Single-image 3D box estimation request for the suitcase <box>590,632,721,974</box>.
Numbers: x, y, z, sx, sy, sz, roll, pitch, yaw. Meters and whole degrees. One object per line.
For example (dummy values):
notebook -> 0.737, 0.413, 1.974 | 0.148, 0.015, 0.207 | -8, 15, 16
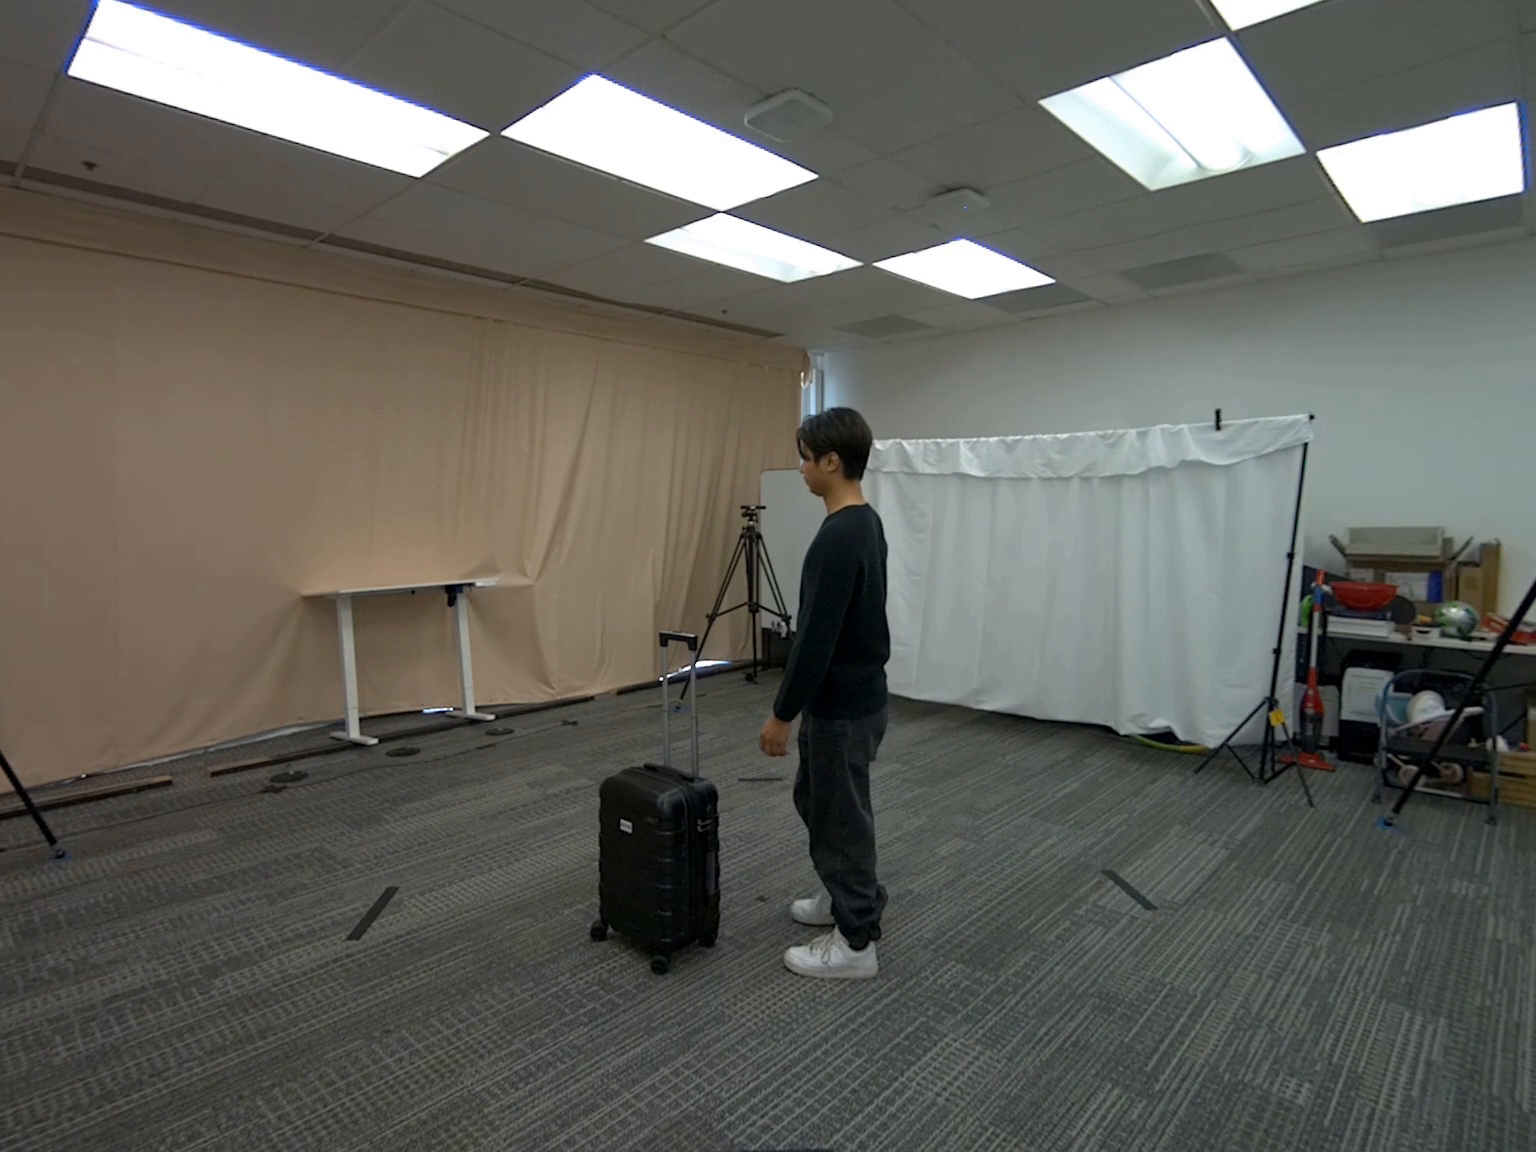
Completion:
suitcase -> -0.348, 0.695, 2.663 | 0.396, 0.976, 0.249 | 3, 5, 39
